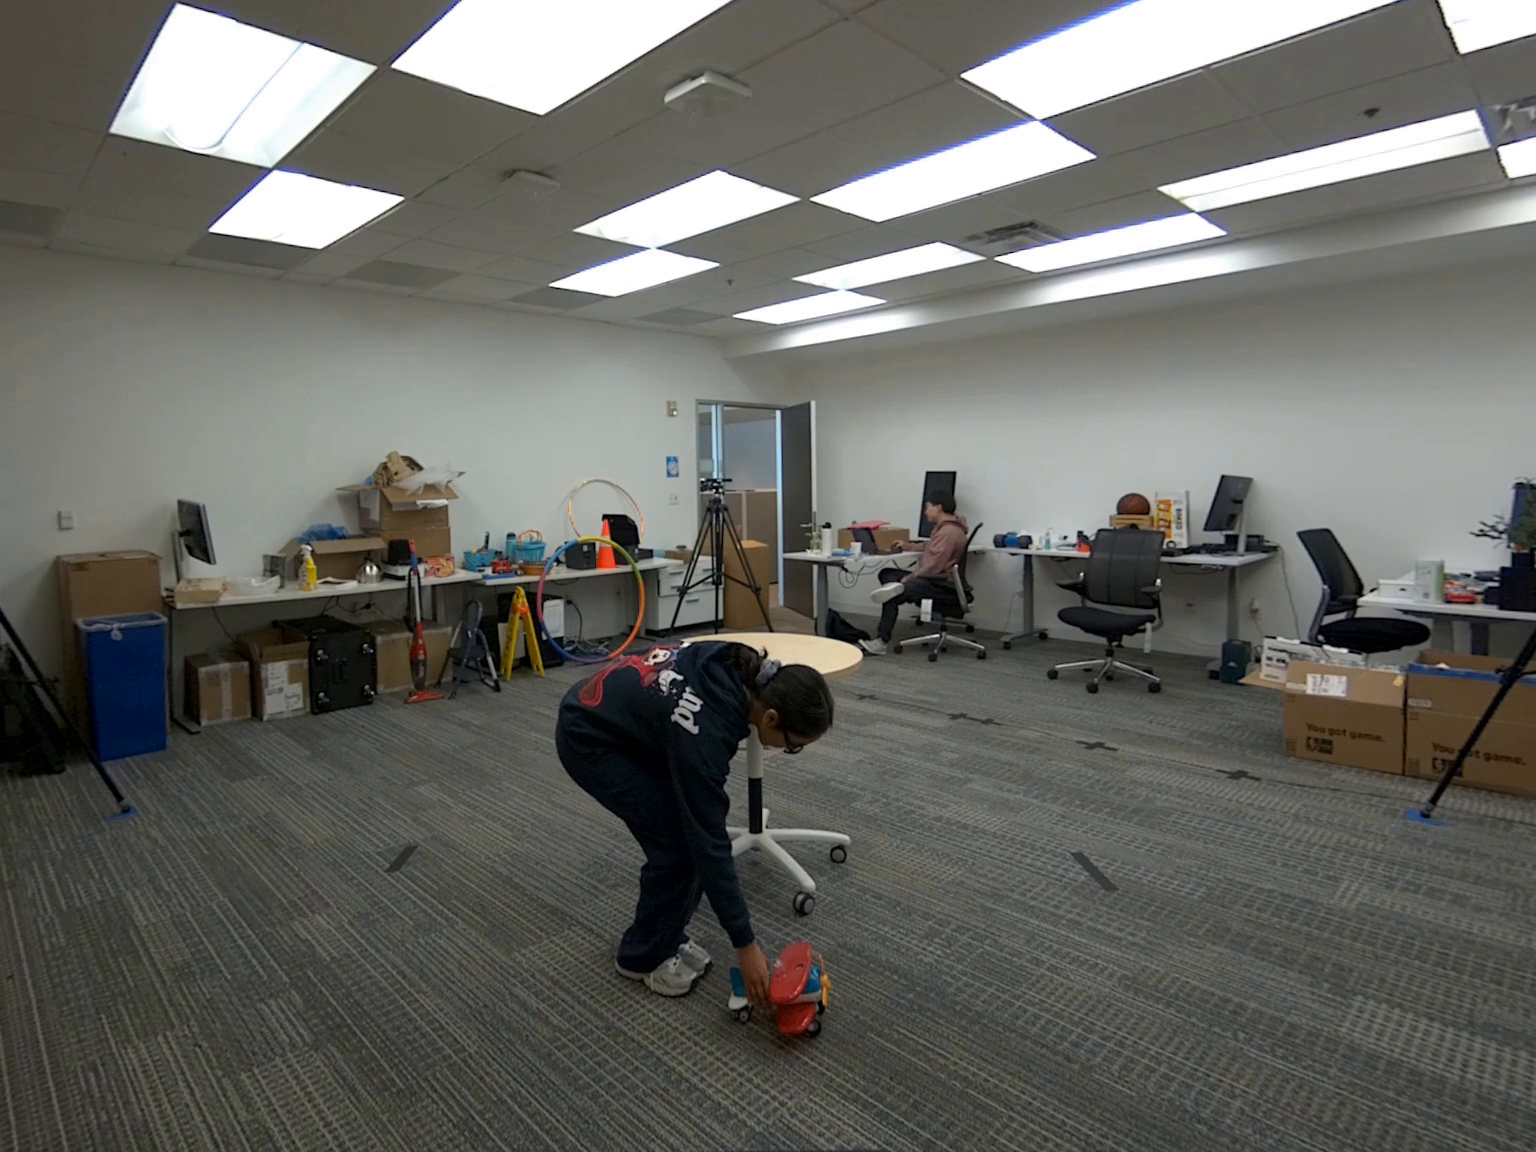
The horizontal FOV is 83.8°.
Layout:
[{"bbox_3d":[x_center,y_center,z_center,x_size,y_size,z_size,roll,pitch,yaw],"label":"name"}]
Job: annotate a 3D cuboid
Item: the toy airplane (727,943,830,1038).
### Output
[{"bbox_3d":[0.035,1.078,2.176,0.255,0.156,0.256,-4,5,-17],"label":"toy airplane"}]
